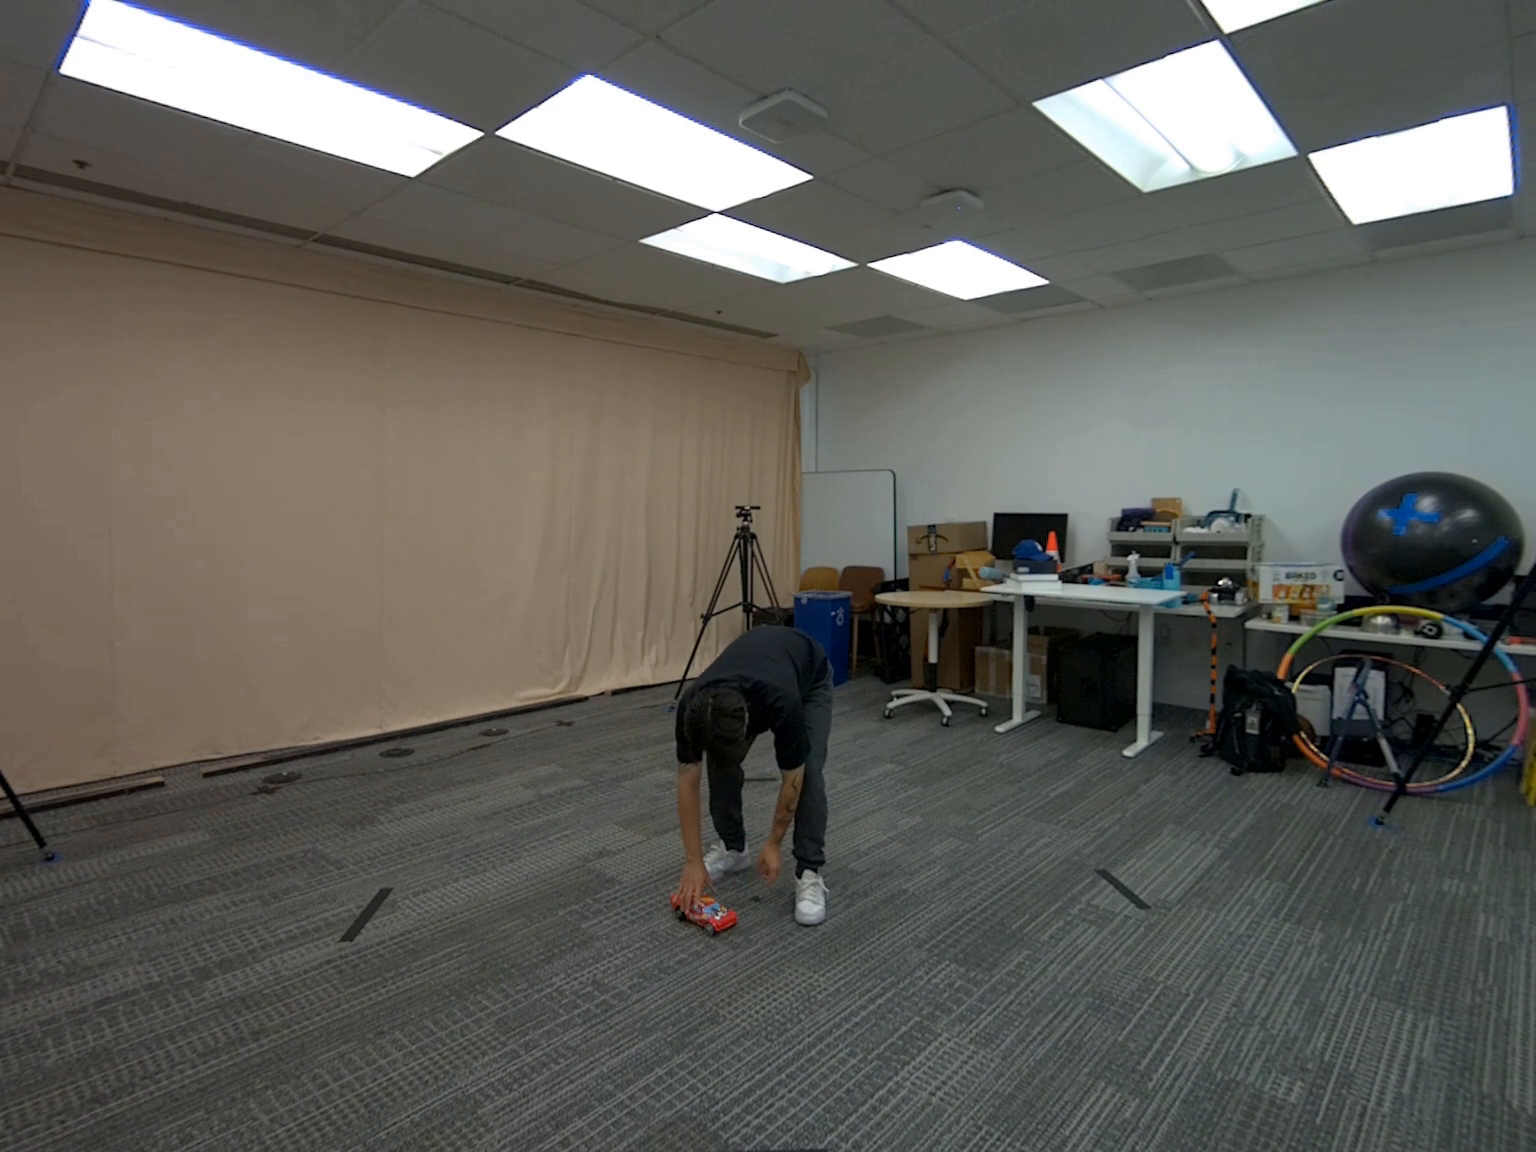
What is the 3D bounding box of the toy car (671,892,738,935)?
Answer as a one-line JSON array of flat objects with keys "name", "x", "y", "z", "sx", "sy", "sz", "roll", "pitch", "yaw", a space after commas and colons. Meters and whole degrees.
[{"name": "toy car", "x": -0.221, "y": 1.128, "z": 2.830, "sx": 0.126, "sy": 0.083, "sz": 0.264, "roll": -5, "pitch": 16, "yaw": -45}]
